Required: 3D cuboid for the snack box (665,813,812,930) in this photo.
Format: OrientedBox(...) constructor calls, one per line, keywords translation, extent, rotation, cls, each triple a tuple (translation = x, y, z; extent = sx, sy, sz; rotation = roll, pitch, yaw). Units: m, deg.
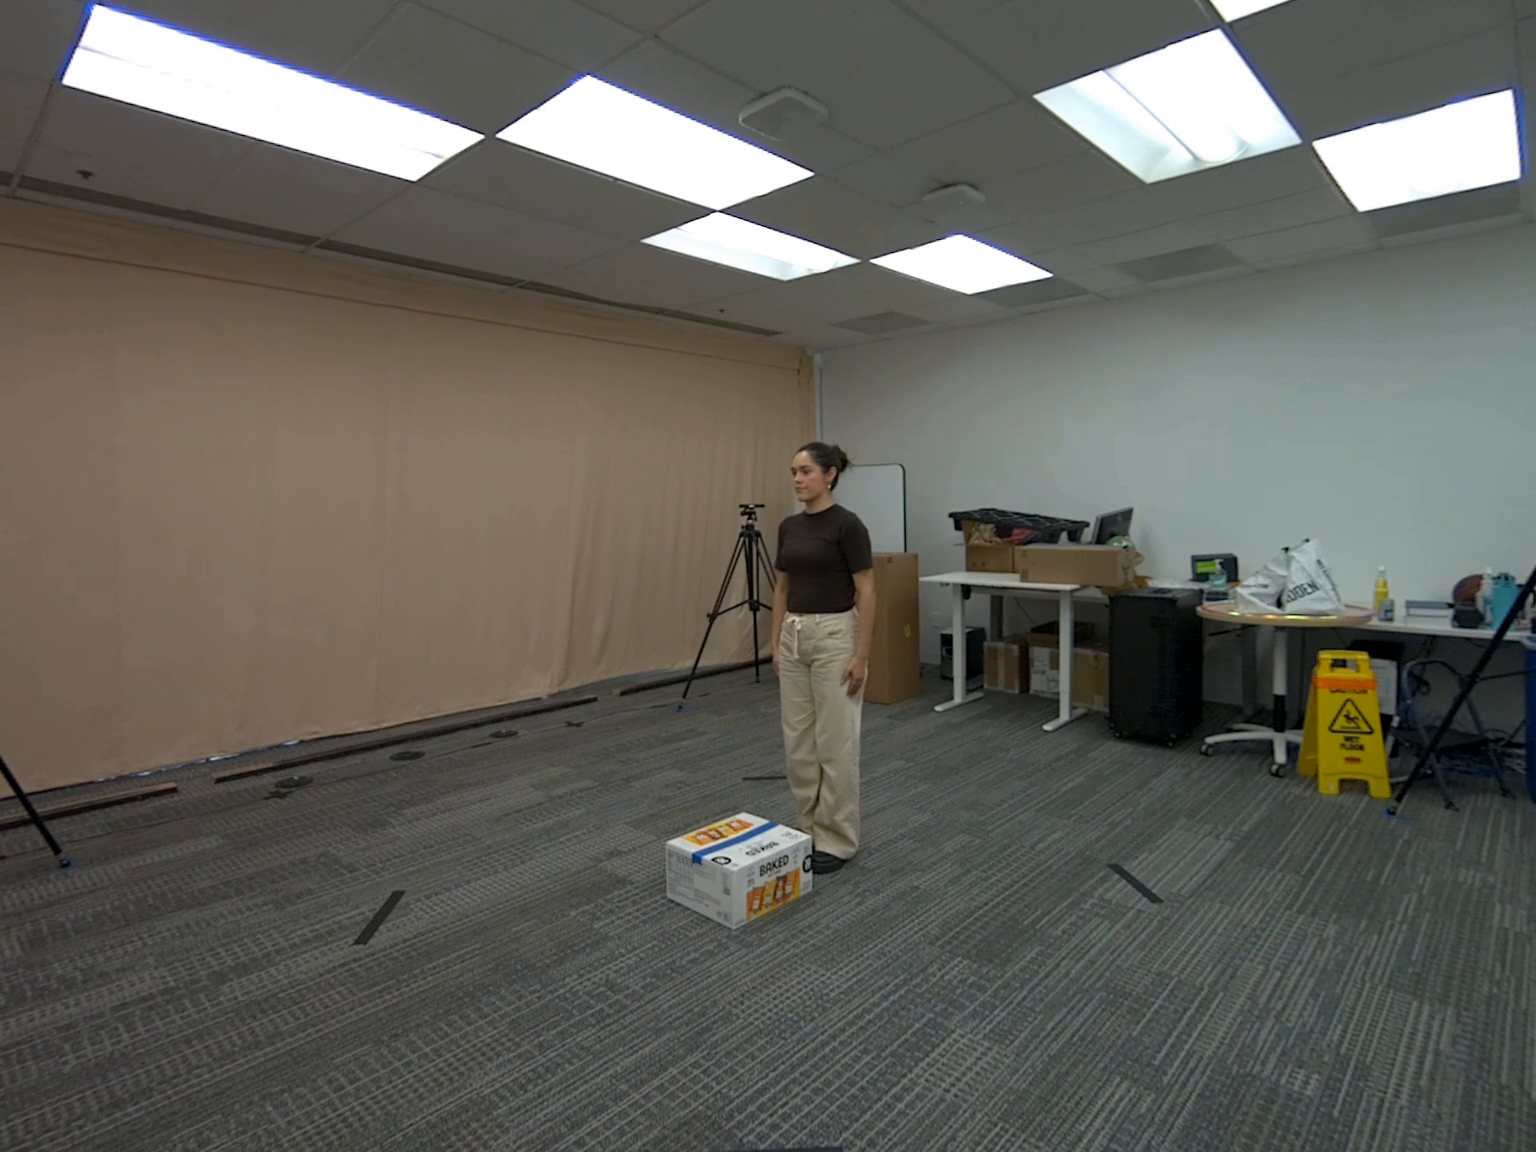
OrientedBox(translation=(-0.097, 1.048, 3.002), extent=(0.351, 0.205, 0.393), rotation=(3, 5, 44), cls="snack box")
